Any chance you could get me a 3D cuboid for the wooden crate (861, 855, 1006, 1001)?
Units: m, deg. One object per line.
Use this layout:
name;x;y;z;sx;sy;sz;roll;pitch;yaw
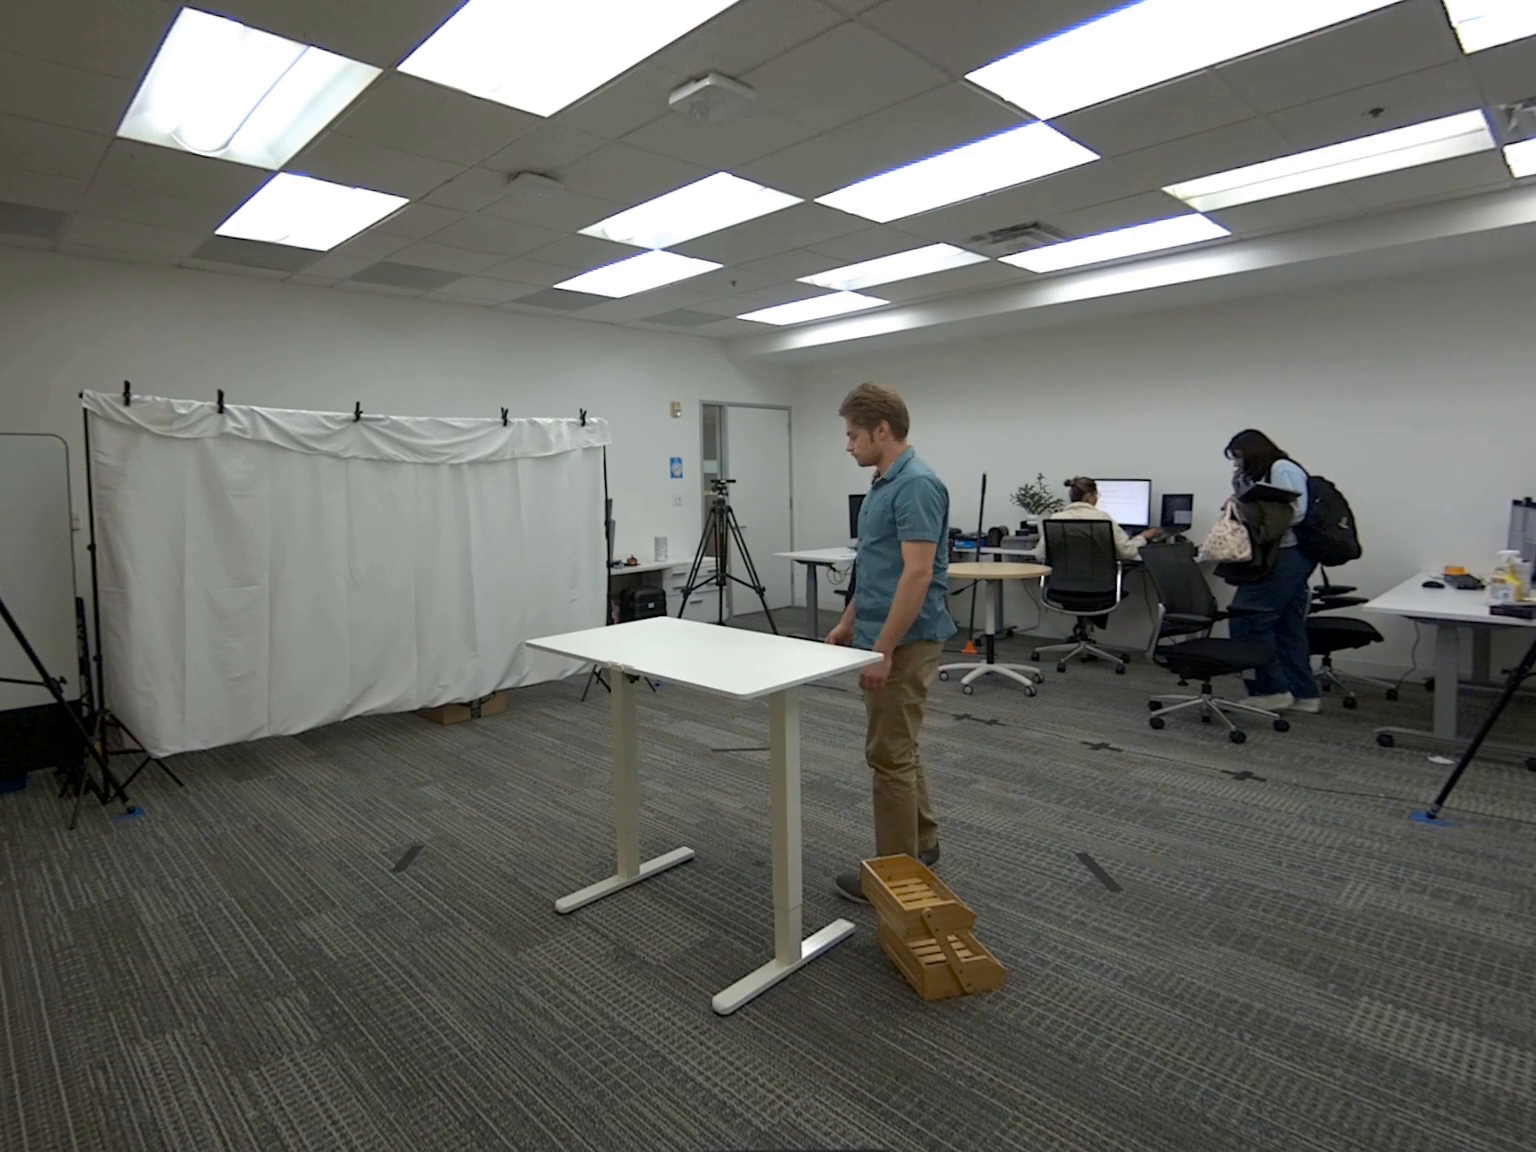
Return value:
wooden crate;0.474;0.980;2.437;0.298;0.272;0.331;-3;6;-16
